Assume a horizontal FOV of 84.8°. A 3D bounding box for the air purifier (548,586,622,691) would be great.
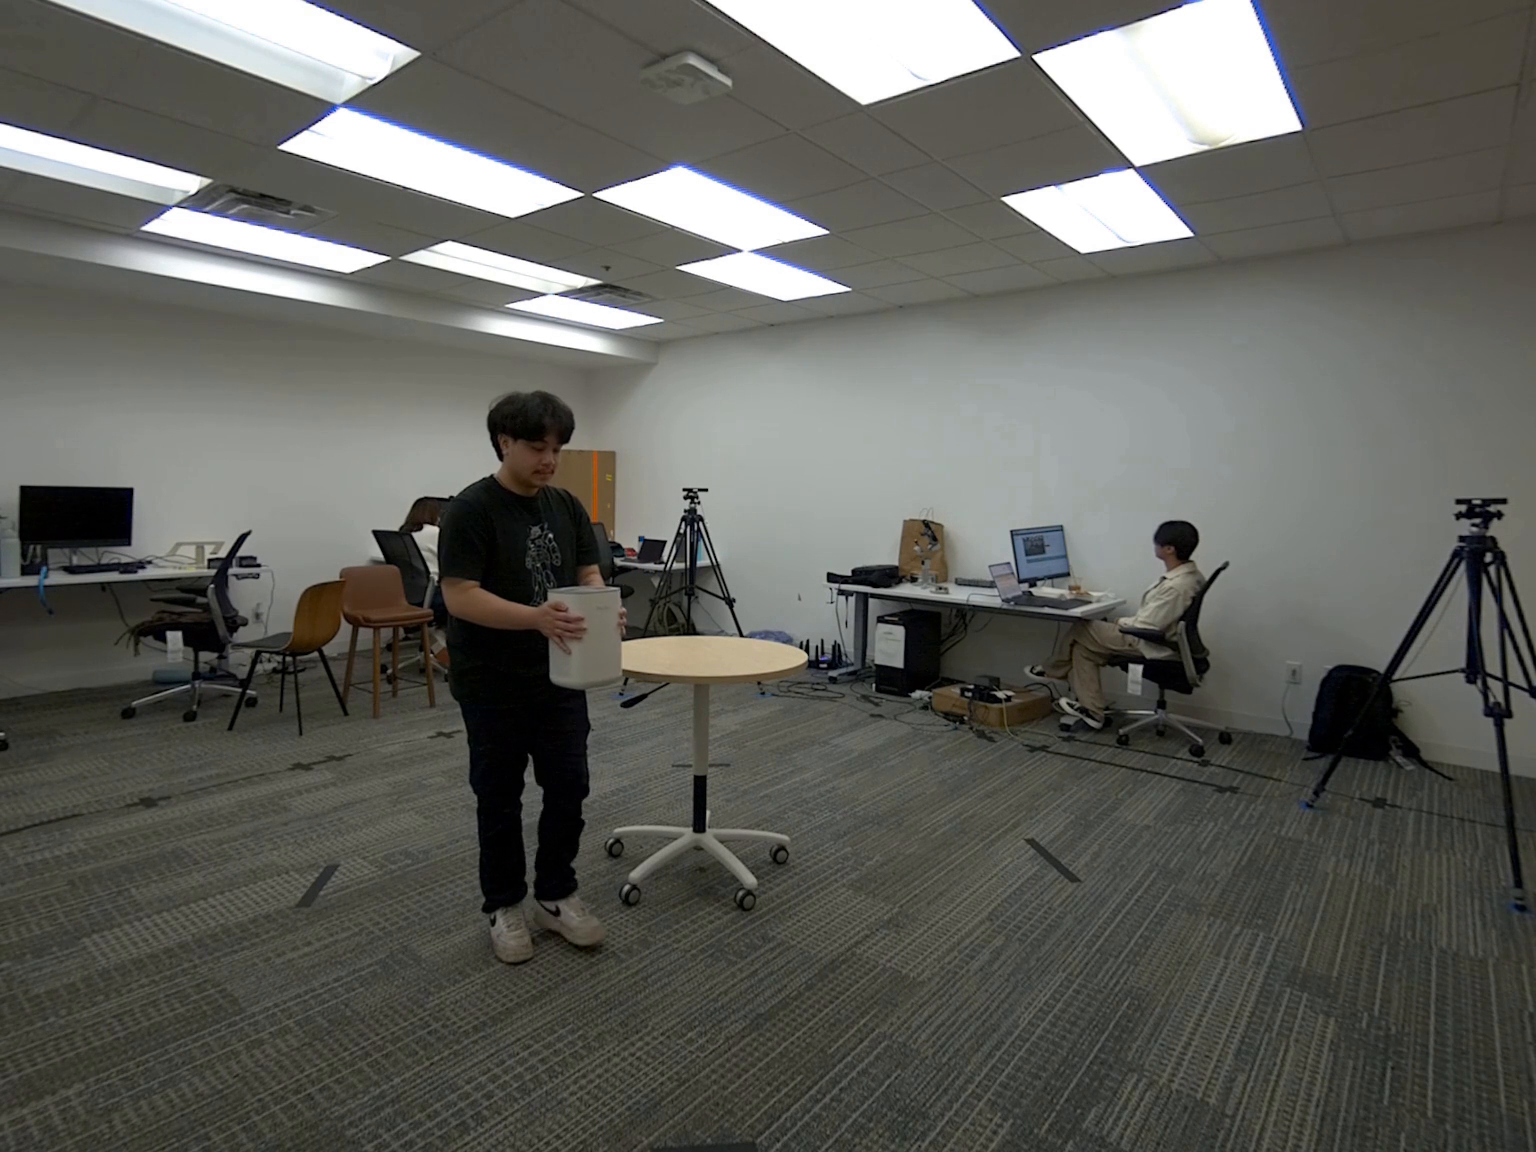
[{"bbox_3d":[-0.521,0.166,2.361,0.166,0.265,0.177,-4,2,-45],"label":"air purifier"}]
